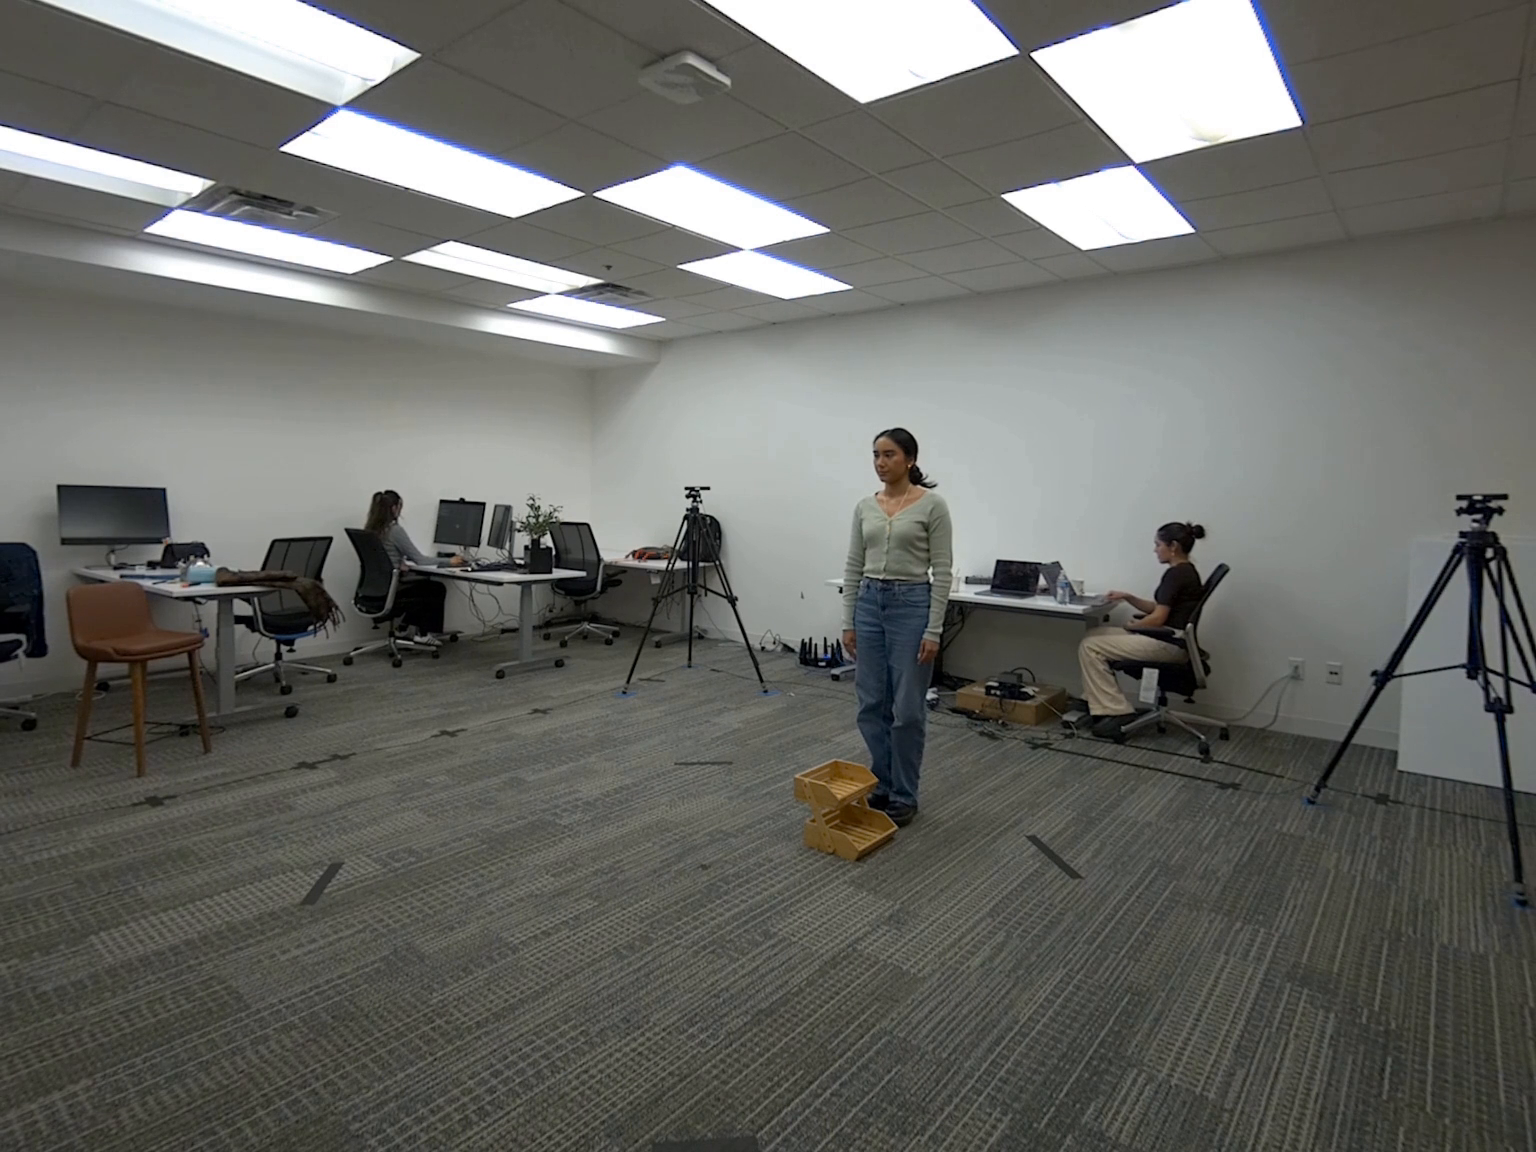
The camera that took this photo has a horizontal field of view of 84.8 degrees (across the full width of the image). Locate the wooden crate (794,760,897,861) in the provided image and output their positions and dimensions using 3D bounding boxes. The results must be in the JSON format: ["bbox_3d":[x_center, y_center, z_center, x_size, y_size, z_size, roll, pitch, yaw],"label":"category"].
[{"bbox_3d":[0.305,0.912,3.379,0.312,0.272,0.315,3,5,38],"label":"wooden crate"}]
